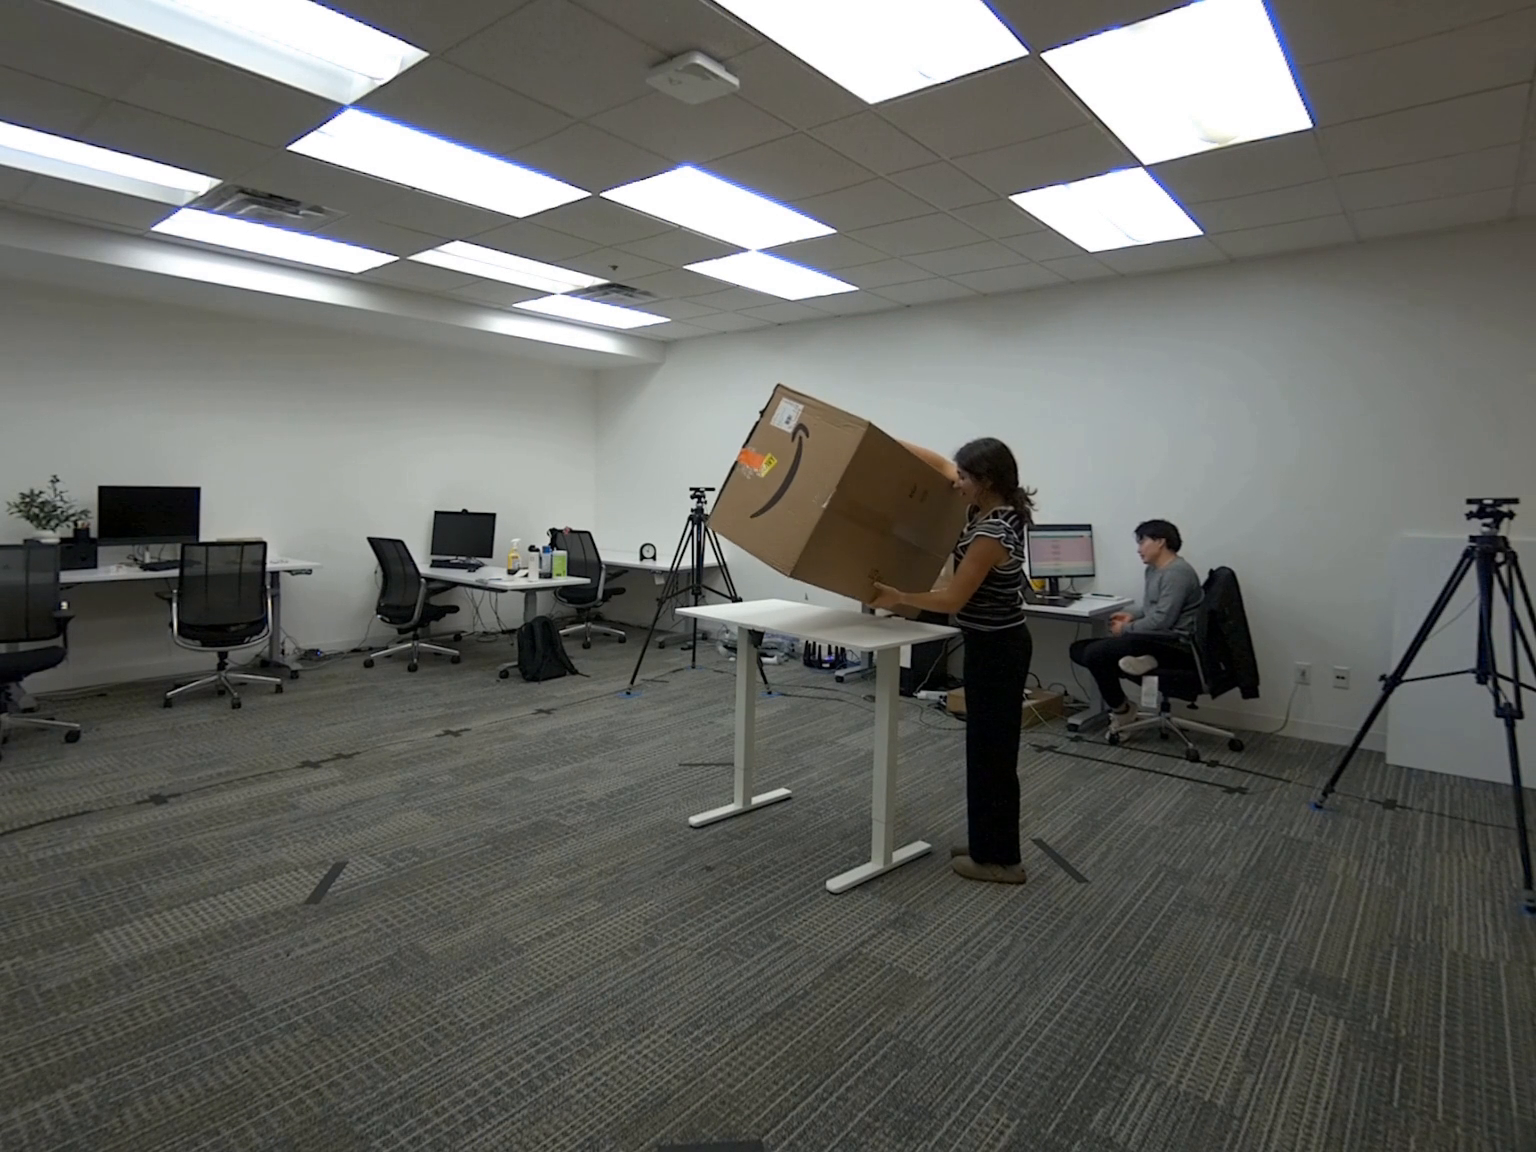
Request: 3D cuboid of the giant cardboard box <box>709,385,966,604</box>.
[{"bbox_3d":[0.308,-0.256,3.289,0.444,0.576,0.987,31,8,35],"label":"giant cardboard box"}]
